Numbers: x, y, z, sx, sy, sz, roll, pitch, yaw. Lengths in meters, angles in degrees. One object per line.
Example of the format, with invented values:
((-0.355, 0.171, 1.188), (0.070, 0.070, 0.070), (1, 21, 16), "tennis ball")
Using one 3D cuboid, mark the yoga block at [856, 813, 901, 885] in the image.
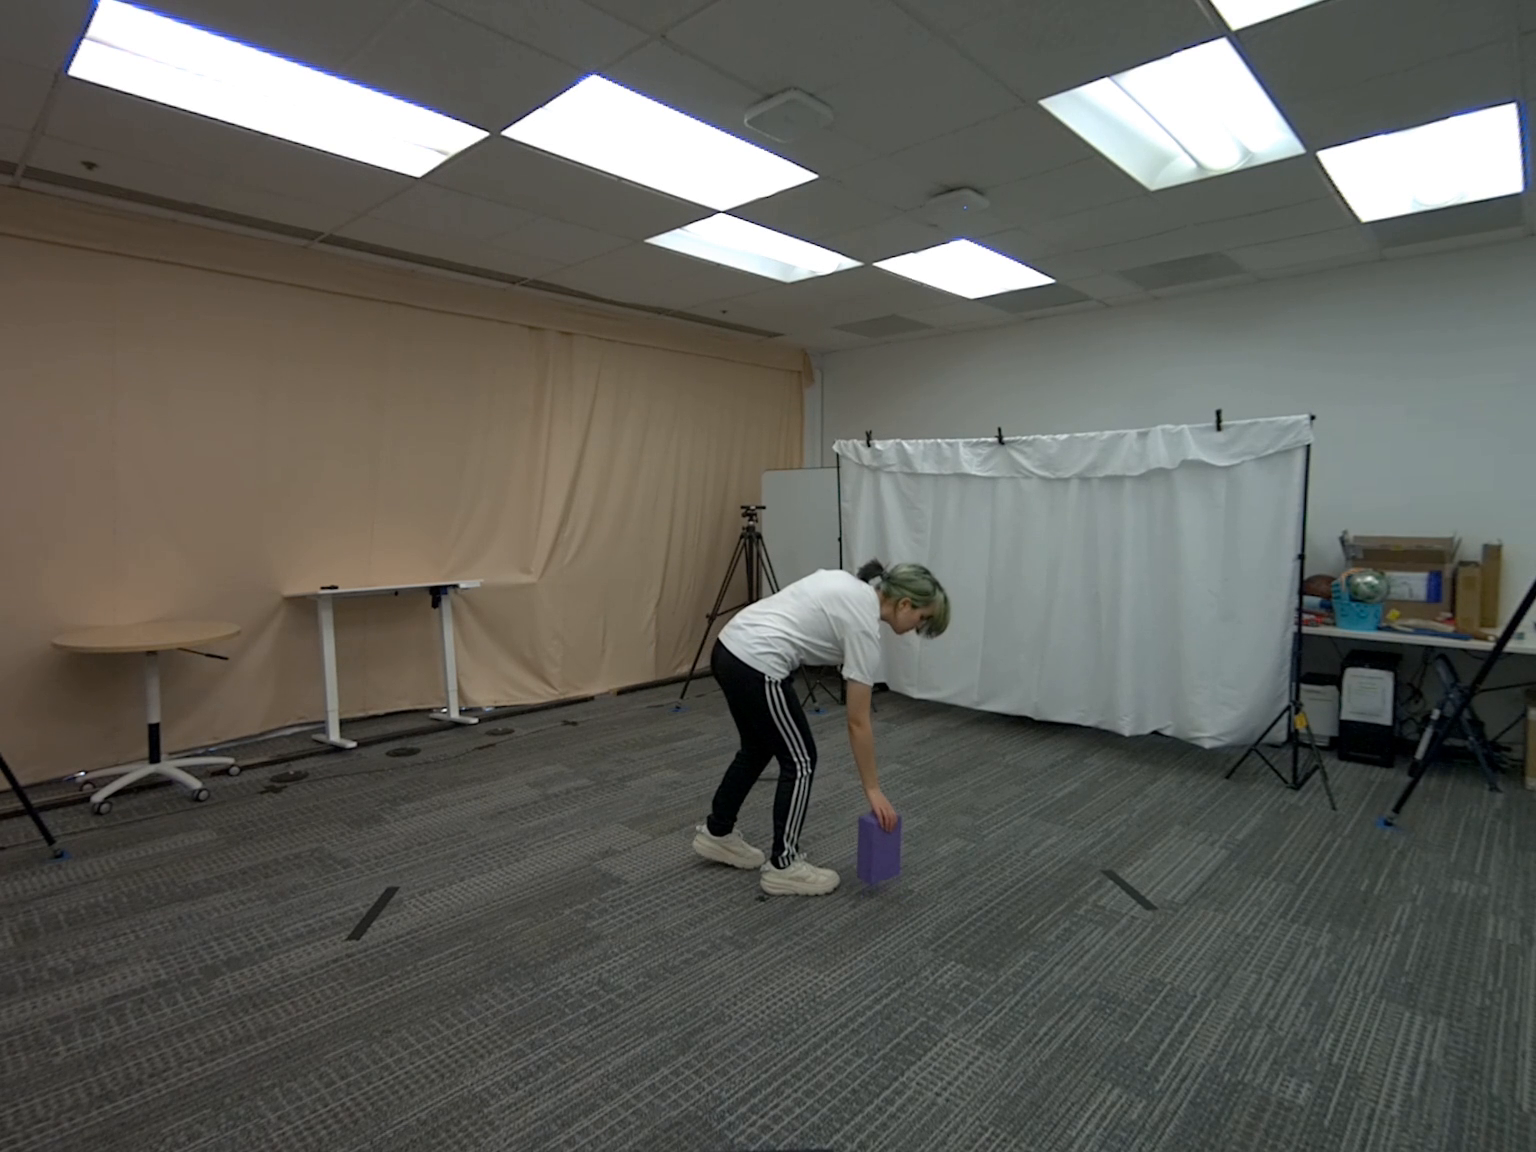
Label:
((0.401, 0.948, 2.991), (0.145, 0.228, 0.078), (-3, 6, -25), "yoga block")
